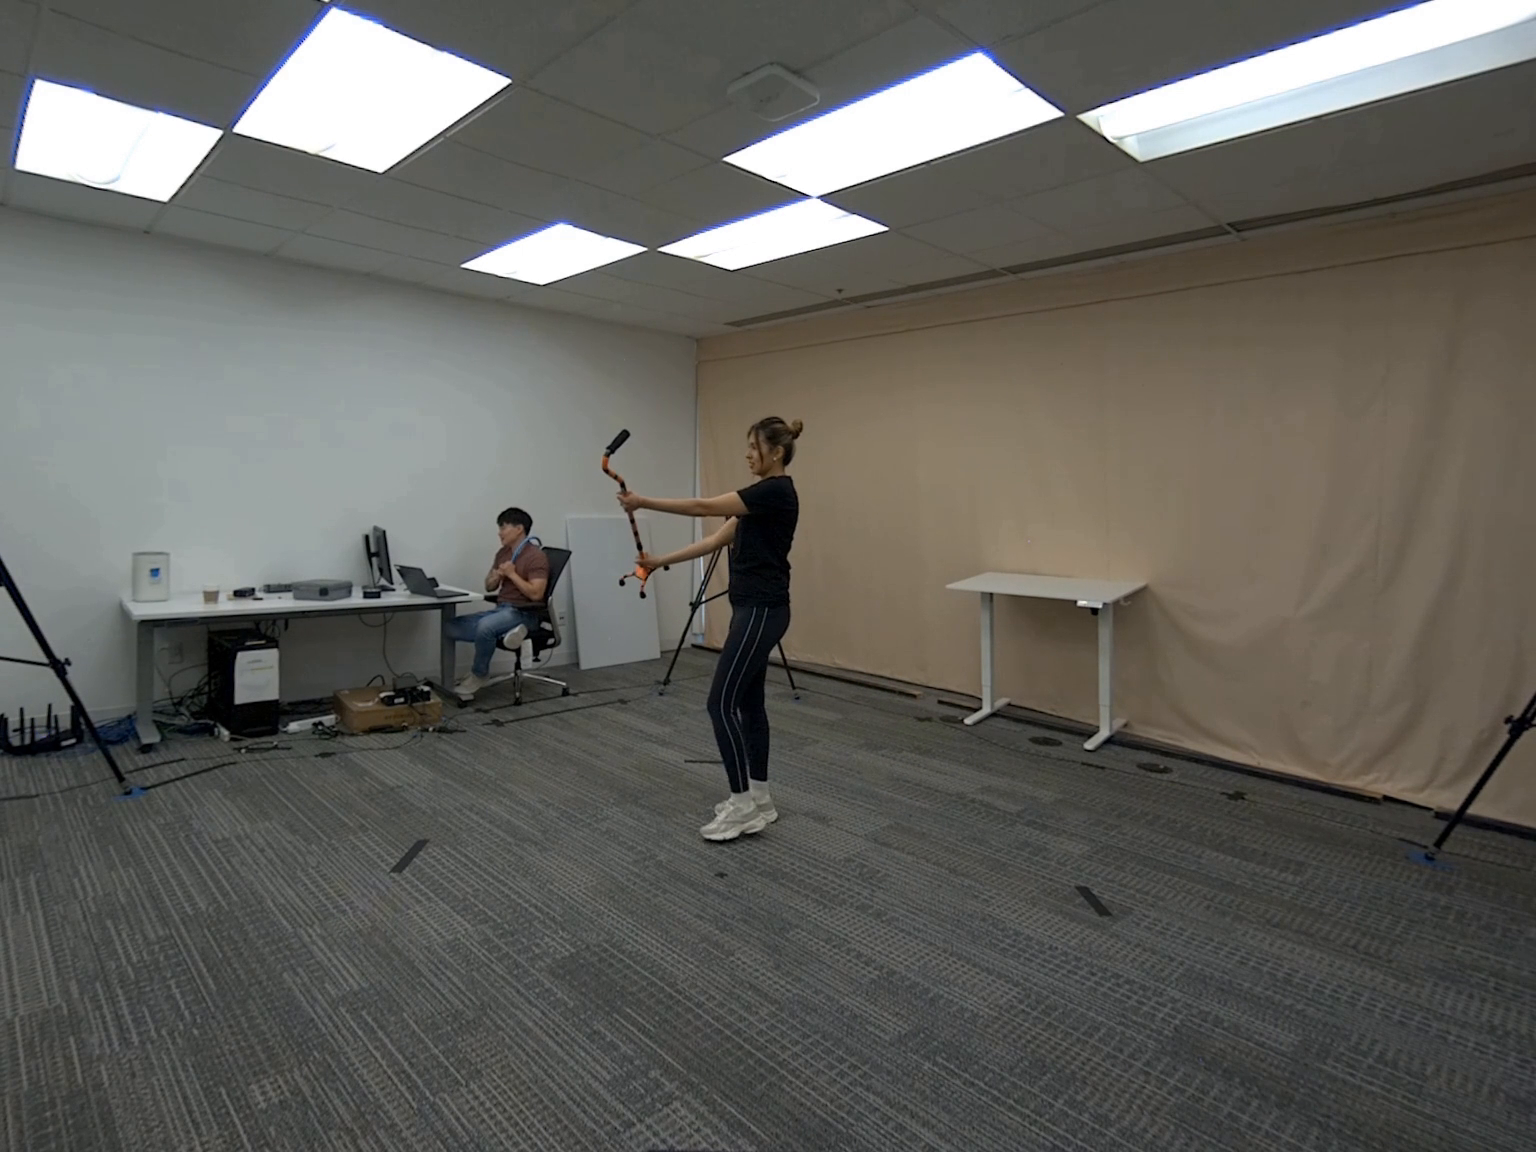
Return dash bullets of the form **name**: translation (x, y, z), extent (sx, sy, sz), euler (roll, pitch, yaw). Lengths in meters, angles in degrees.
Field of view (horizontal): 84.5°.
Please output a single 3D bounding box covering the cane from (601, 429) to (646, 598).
- **cane**: translation (-0.582, -0.243, 3.490), extent (0.154, 0.207, 0.887), euler (24, -29, 18)
